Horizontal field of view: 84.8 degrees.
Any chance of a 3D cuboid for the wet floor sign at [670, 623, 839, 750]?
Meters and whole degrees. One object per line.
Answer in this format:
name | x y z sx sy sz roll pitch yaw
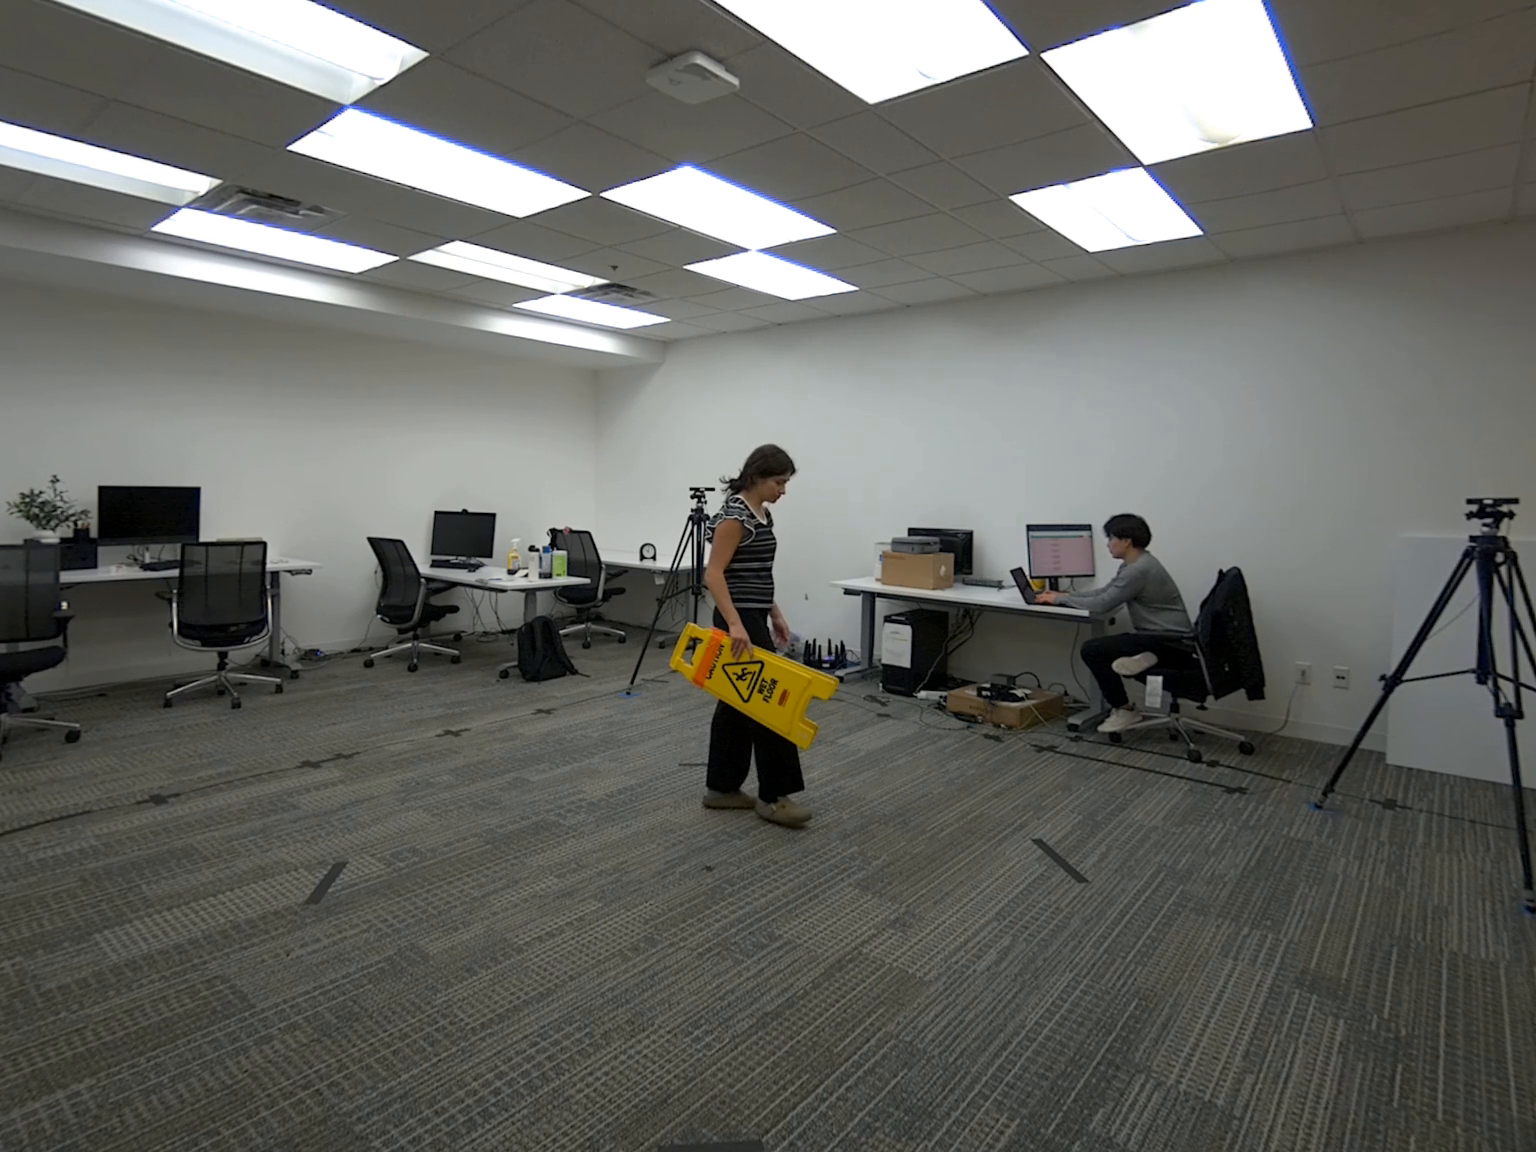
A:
wet floor sign | -0.083 0.407 3.402 0.656 0.282 0.285 24 2 10
